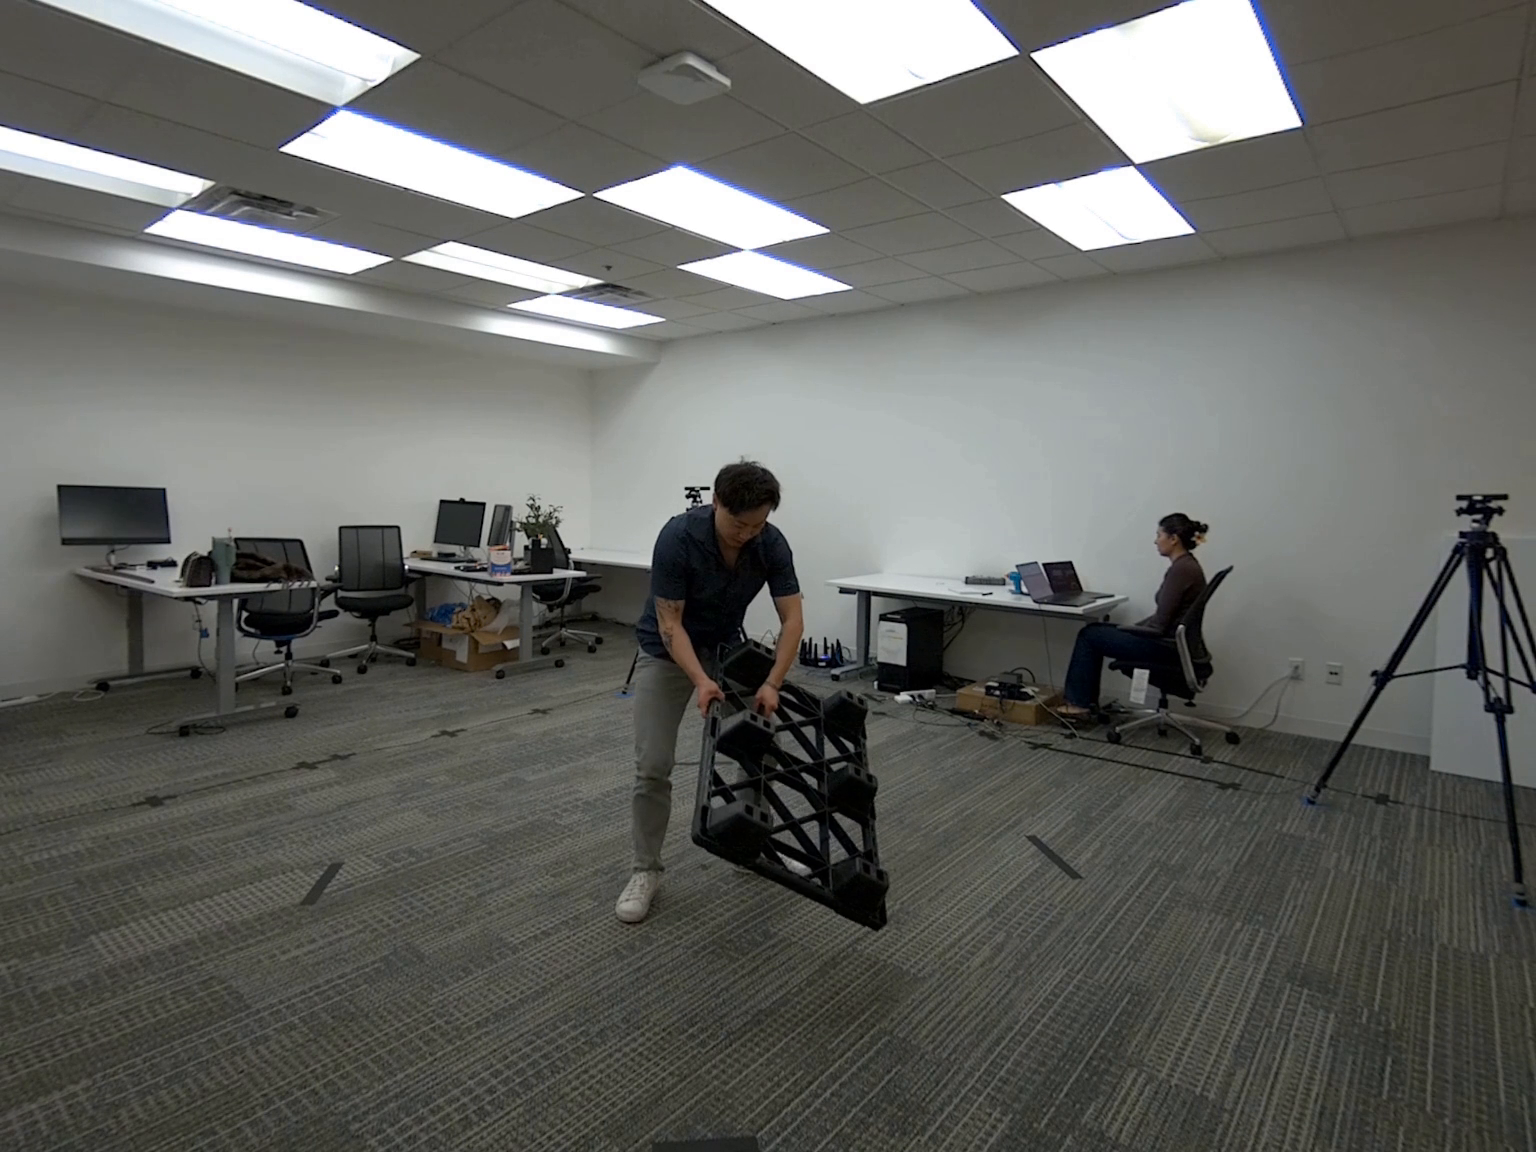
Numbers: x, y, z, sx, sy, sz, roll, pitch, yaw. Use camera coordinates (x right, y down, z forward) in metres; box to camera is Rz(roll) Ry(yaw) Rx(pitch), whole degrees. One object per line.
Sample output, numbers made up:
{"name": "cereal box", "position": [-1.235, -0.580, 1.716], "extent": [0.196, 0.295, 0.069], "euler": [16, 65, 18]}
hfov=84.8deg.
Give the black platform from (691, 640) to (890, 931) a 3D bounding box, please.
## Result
{"name": "black platform", "position": [0.091, 0.561, 2.529], "extent": [0.594, 0.143, 0.824], "euler": [27, 30, -14]}
